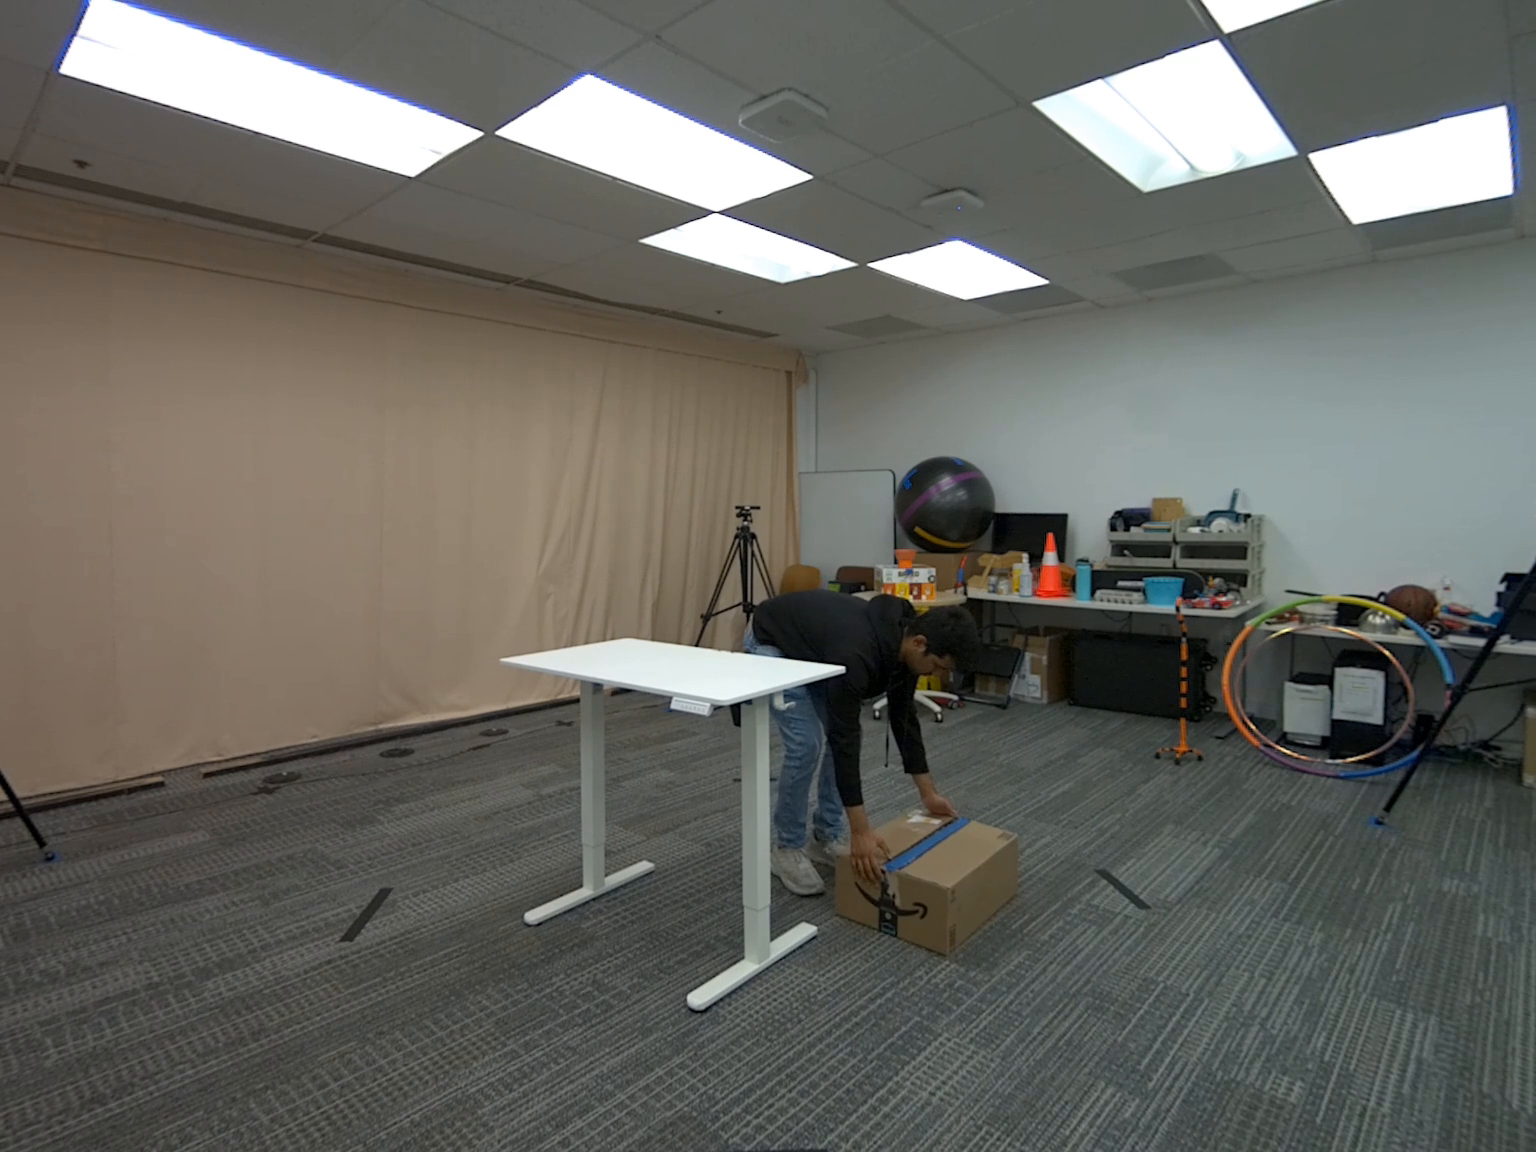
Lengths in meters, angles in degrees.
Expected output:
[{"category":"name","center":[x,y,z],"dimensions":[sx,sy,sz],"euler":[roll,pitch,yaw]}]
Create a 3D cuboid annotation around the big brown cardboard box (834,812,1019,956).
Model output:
[{"category":"big brown cardboard box","center":[0.570,1.029,2.935],"dimensions":[0.431,0.232,0.572],"euler":[3,6,38]}]
